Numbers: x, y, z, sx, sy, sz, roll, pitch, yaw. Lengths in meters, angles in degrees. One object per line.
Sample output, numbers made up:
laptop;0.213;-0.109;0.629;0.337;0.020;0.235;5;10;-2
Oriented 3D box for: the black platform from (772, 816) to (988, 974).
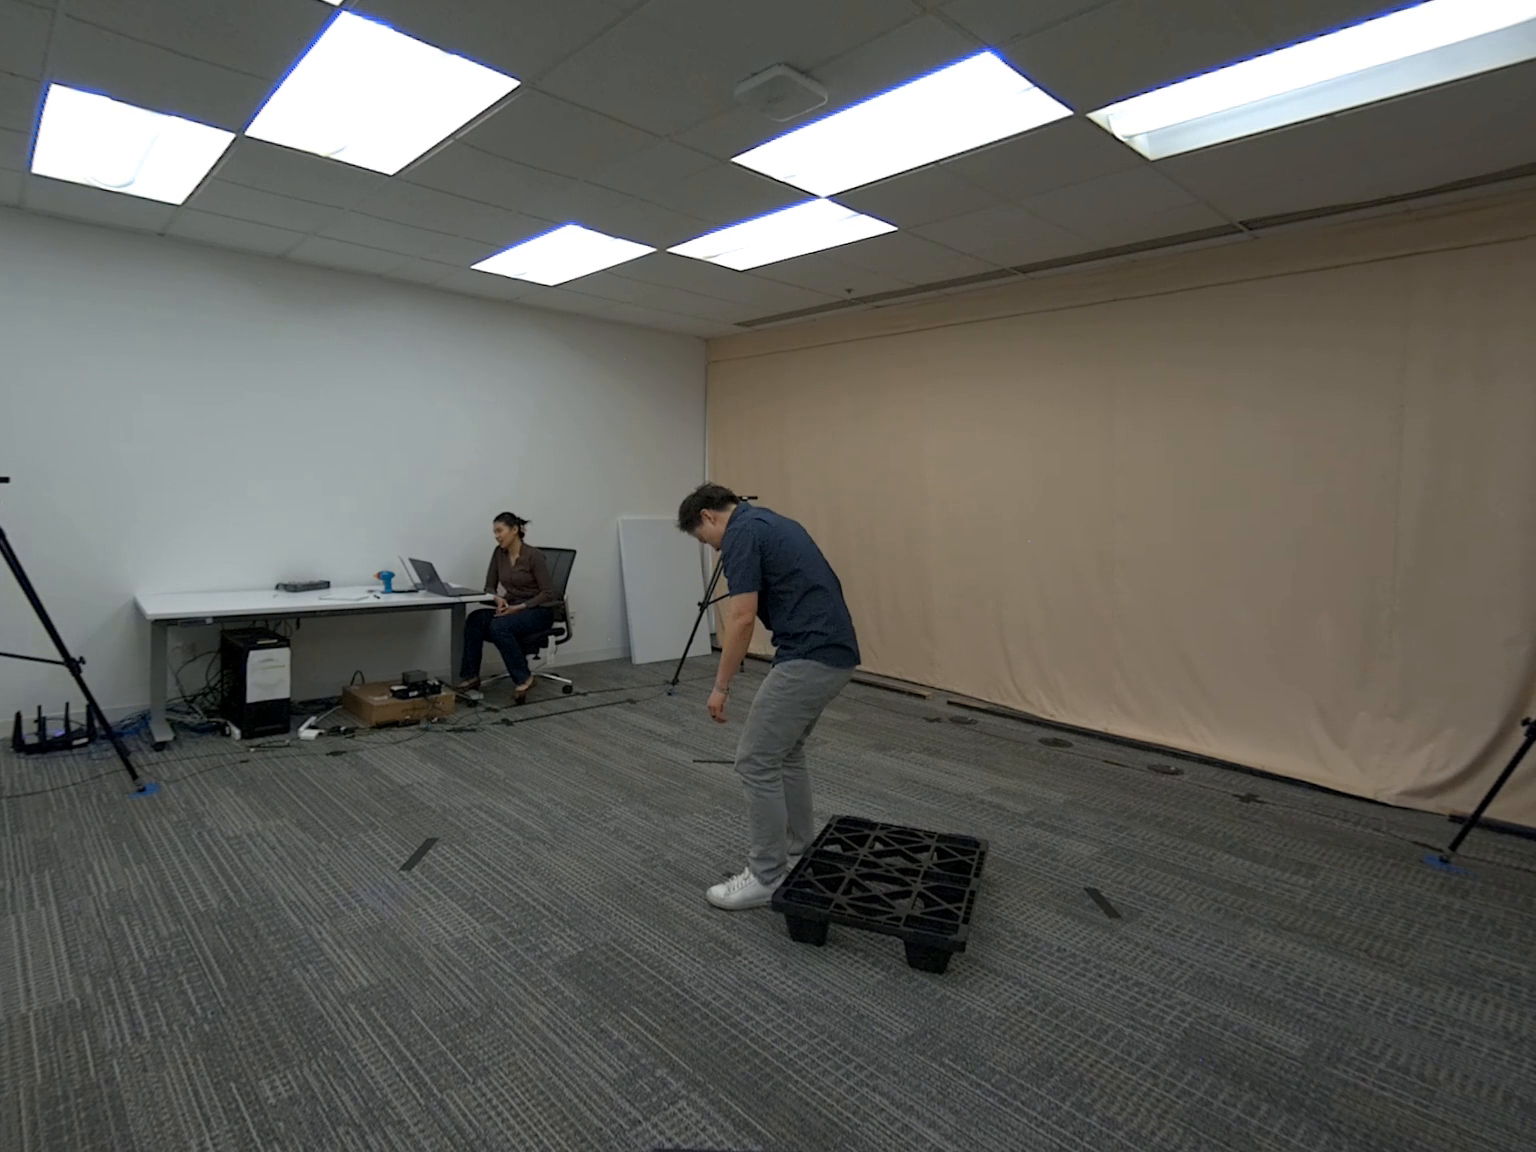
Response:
black platform;0.405;1.067;2.895;0.615;0.143;0.794;3;5;20
